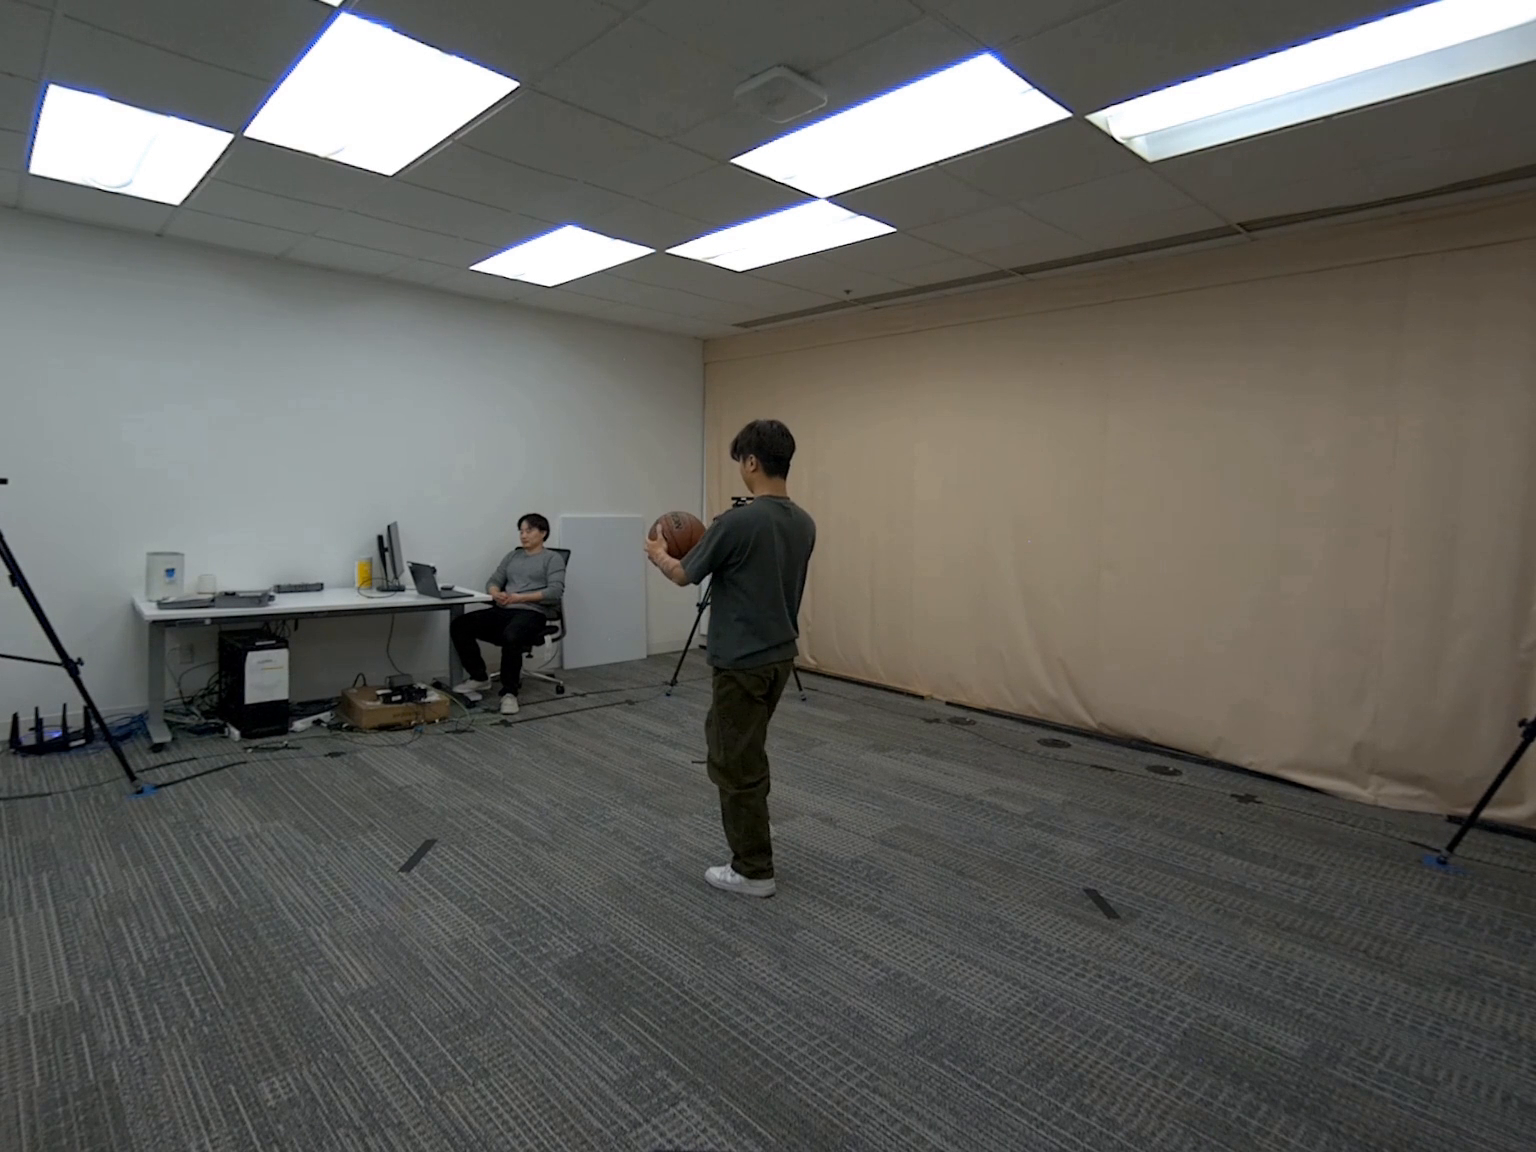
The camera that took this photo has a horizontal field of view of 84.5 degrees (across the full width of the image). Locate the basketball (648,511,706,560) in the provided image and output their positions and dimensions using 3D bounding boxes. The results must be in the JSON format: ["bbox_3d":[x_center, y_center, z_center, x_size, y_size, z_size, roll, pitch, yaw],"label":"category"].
[{"bbox_3d":[-0.355,-0.119,3.300,0.236,0.235,0.237,1,4,-1],"label":"basketball"}]
